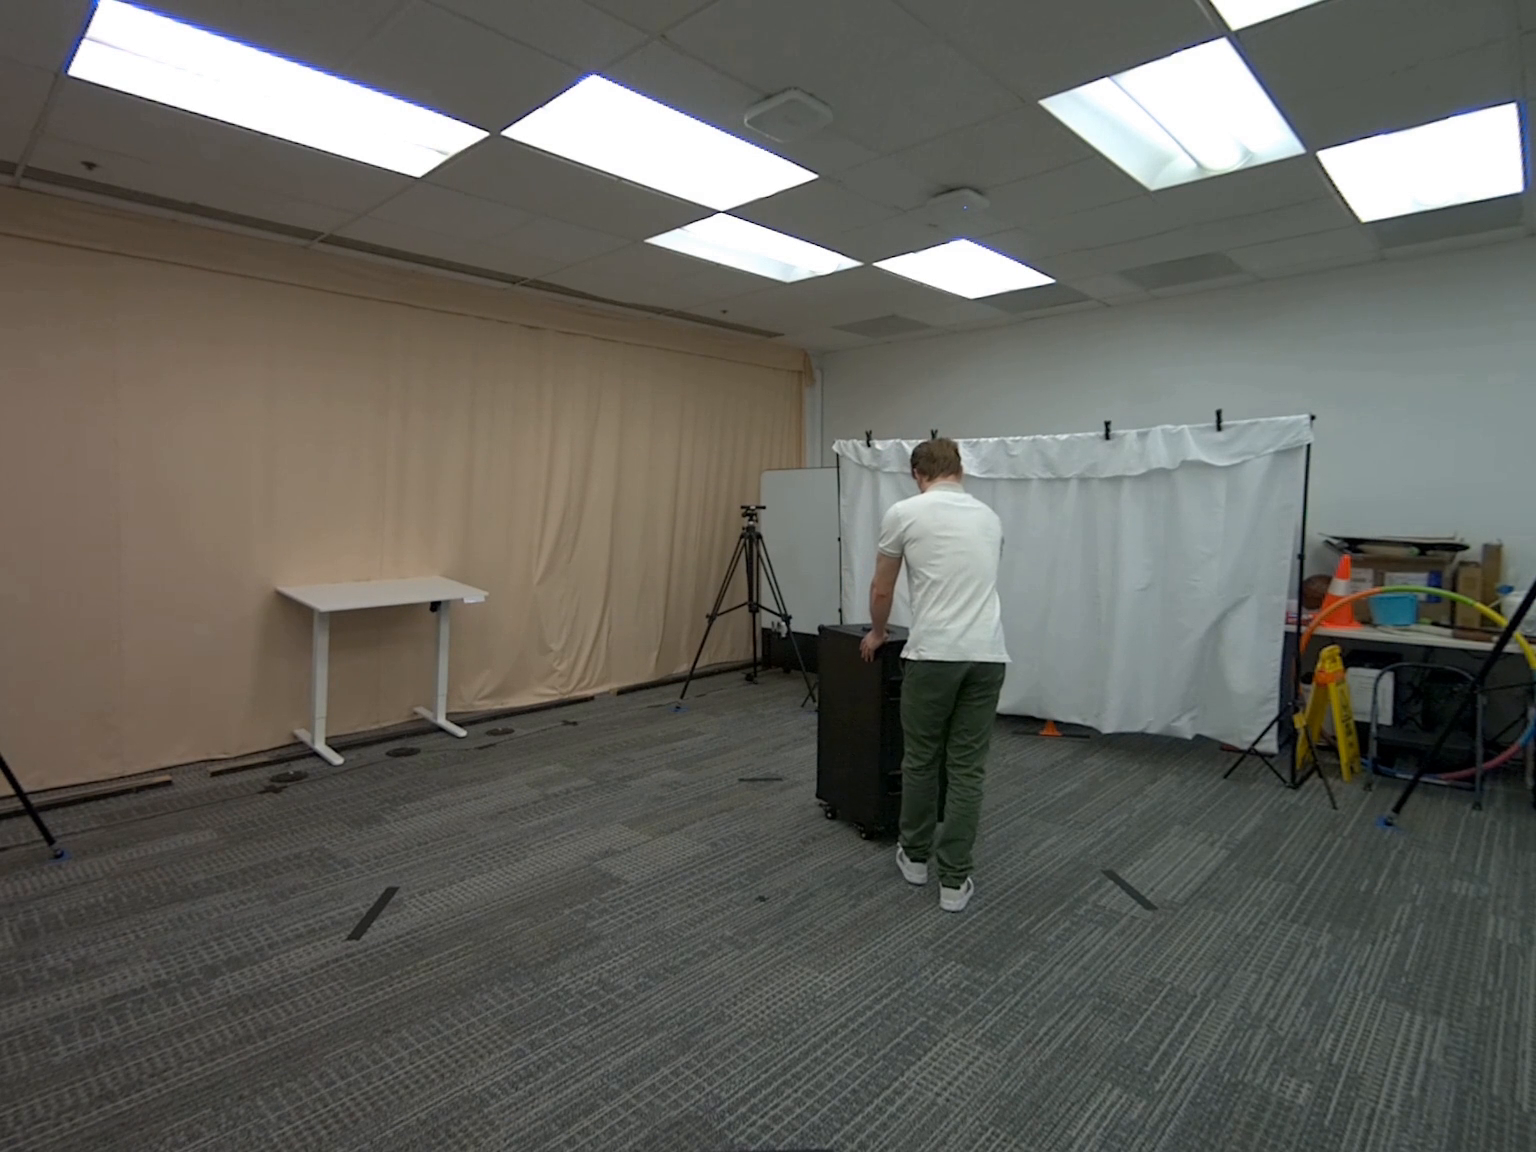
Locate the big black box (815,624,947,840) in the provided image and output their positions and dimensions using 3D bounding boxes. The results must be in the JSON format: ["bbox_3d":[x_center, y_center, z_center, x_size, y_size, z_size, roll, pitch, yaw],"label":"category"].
[{"bbox_3d":[0.485,0.663,3.667,0.375,0.867,0.538,-1,4,-28],"label":"big black box"}]
